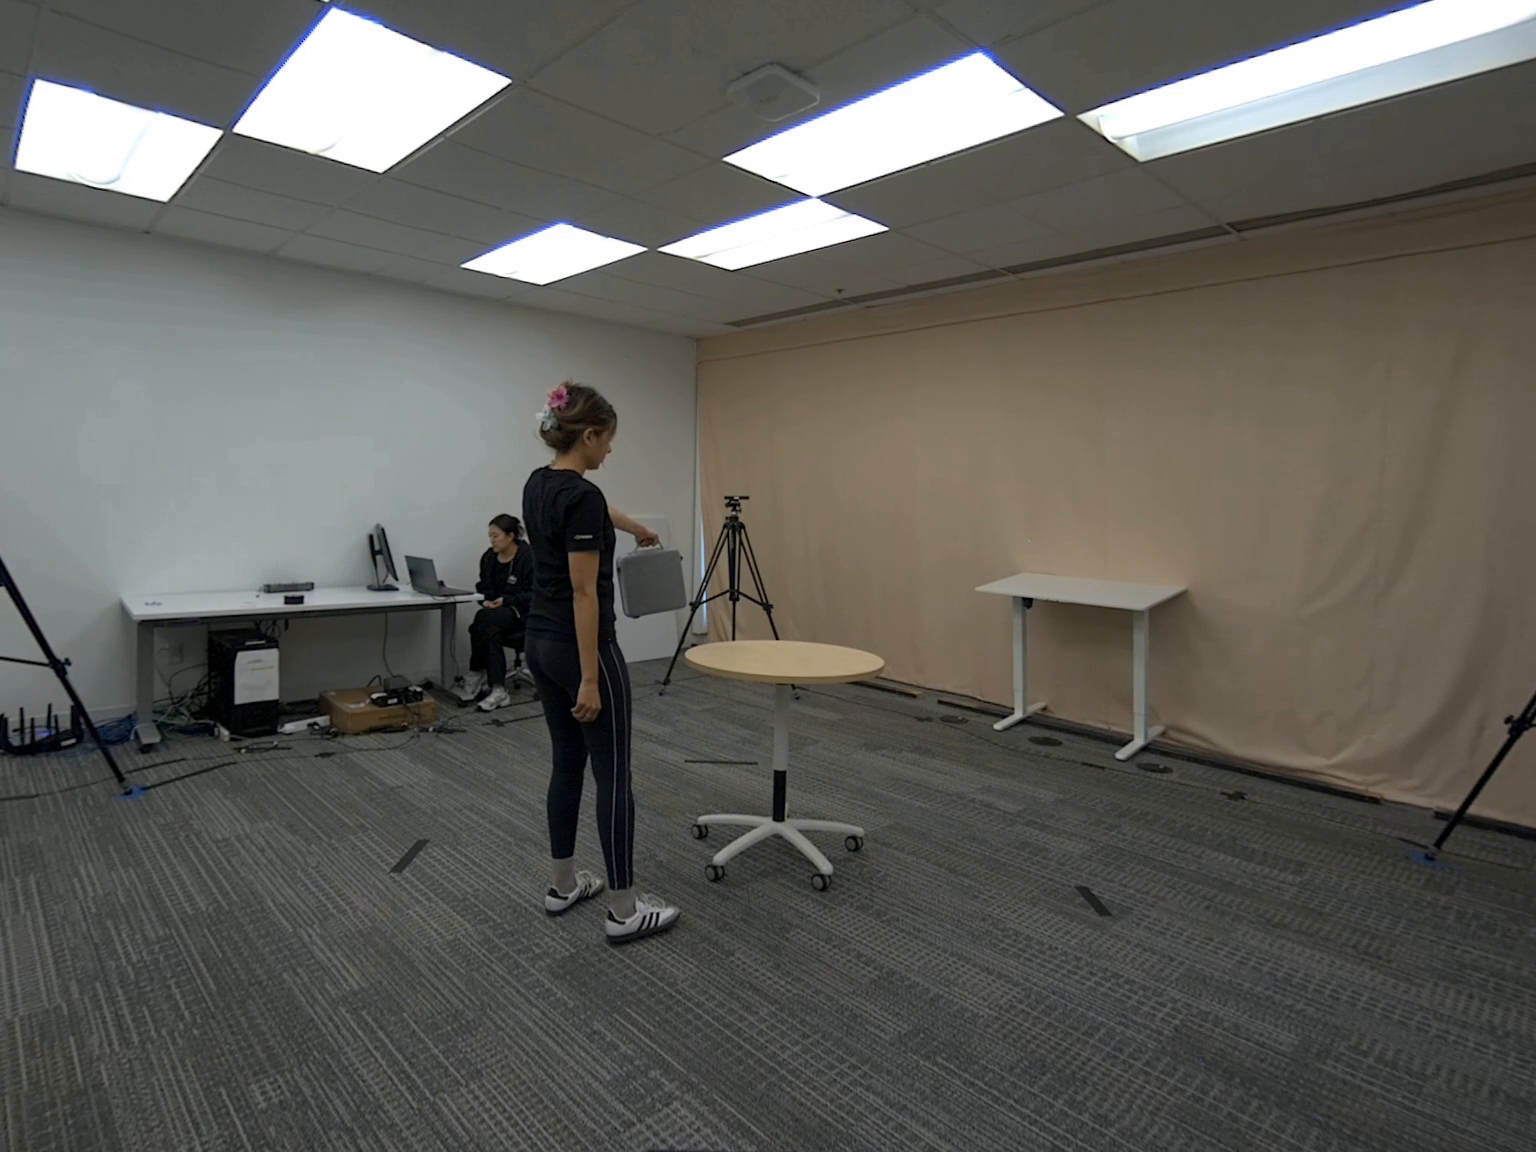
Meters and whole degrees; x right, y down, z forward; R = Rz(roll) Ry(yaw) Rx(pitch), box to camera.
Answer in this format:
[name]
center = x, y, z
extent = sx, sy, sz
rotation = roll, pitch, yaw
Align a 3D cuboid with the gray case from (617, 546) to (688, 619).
[gray case]
center = -0.470, 0.022, 3.364
extent = 0.254, 0.259, 0.106
rotation = -10, 5, -19
